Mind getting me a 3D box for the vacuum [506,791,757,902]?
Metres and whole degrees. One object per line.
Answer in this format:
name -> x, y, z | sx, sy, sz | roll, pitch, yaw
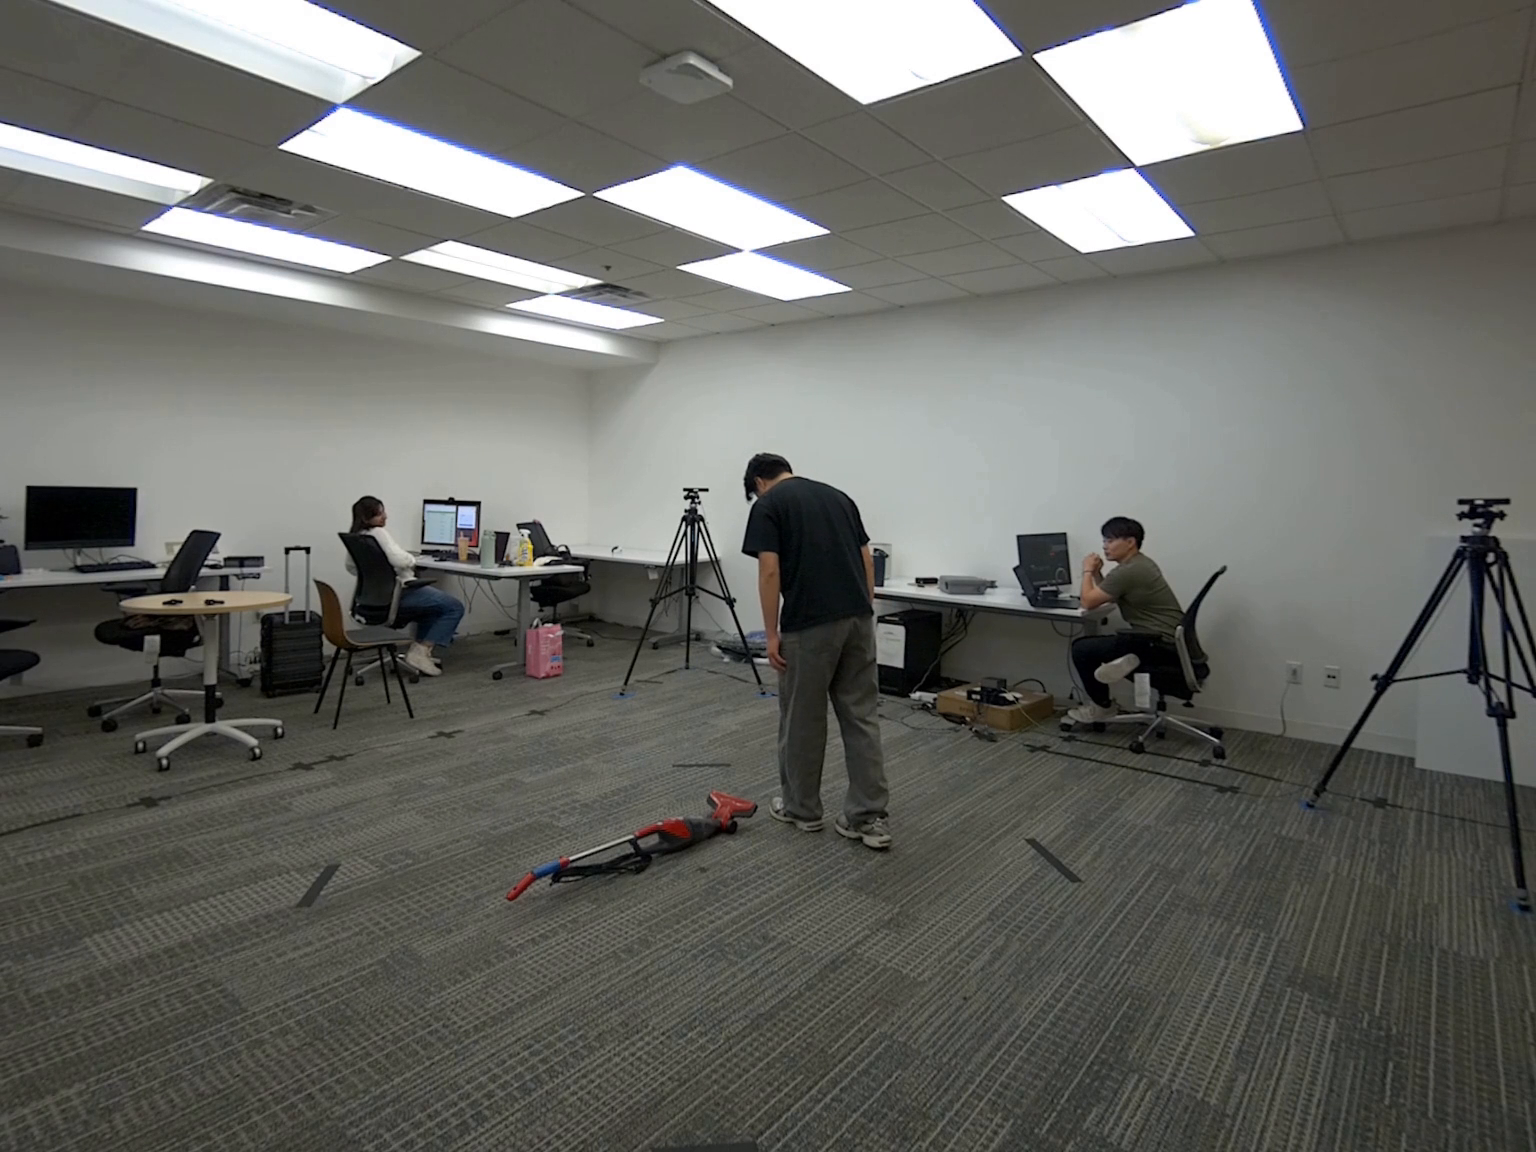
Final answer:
vacuum -> -0.502, 1.009, 3.127 | 0.261, 0.143, 1.019 | 6, 8, 41
